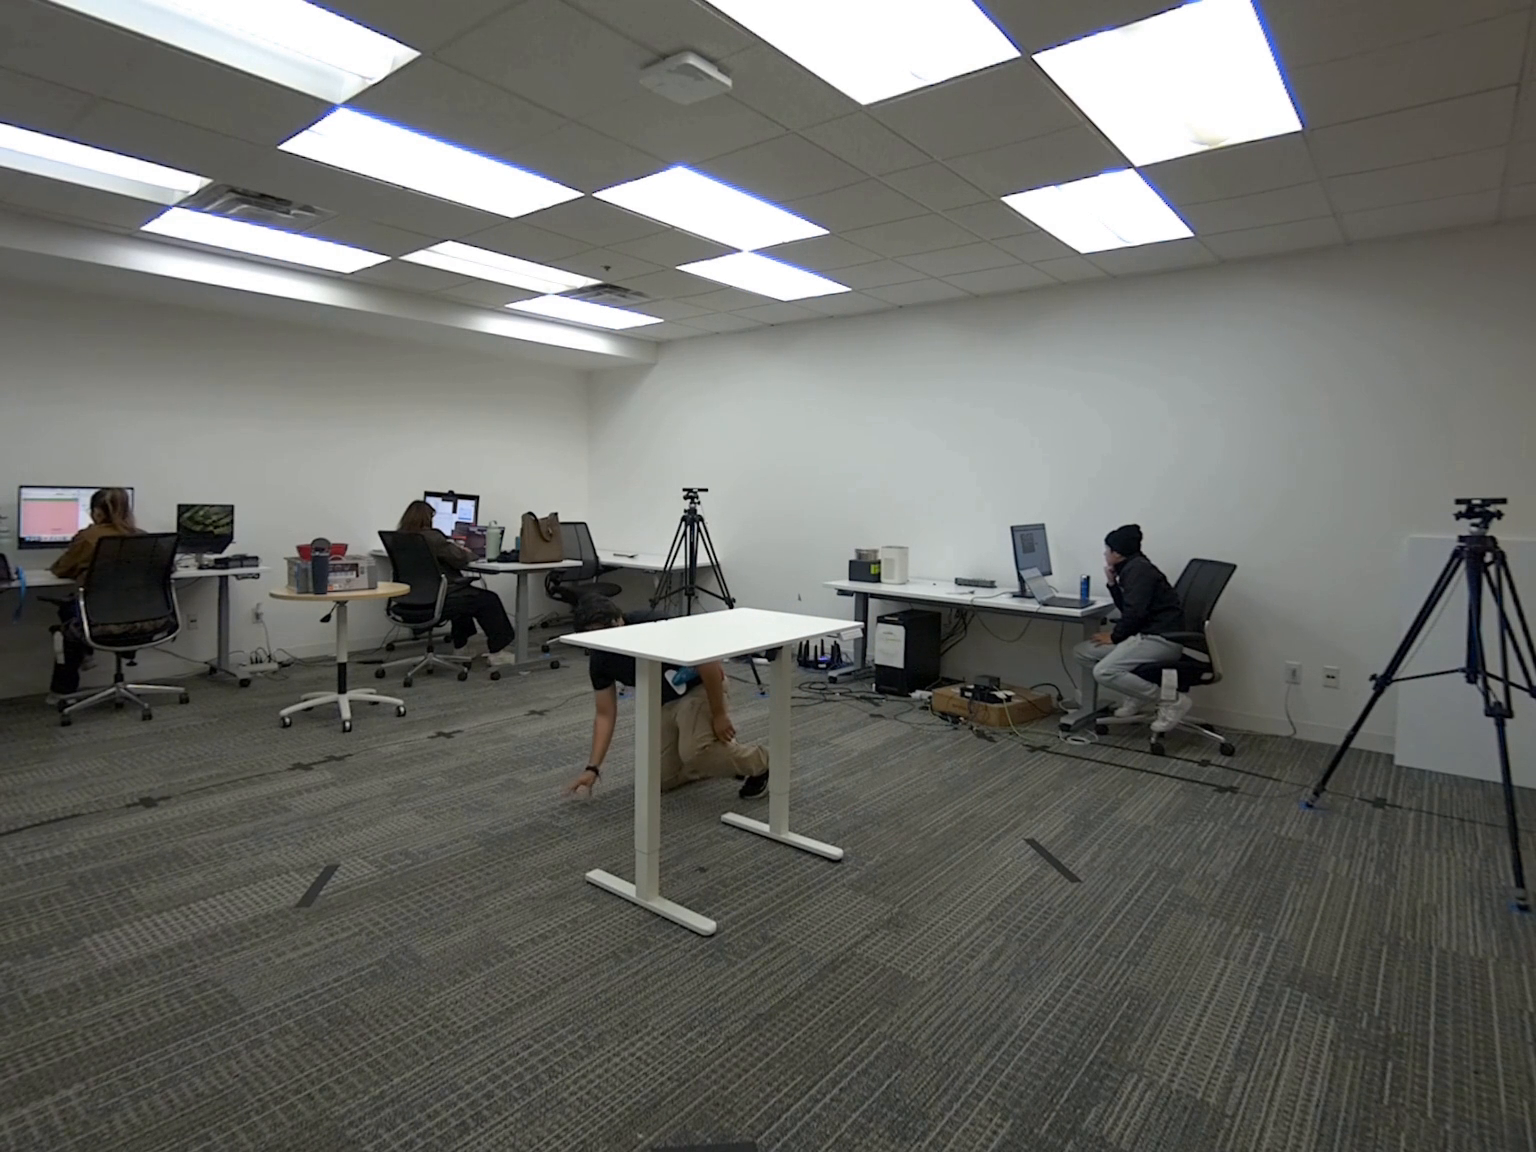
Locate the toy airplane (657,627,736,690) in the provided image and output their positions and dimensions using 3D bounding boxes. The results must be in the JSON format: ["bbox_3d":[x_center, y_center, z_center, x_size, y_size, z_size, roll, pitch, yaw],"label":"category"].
[{"bbox_3d":[-0.326,0.417,3.792,0.249,0.262,0.156,24,-25,-5],"label":"toy airplane"}]
